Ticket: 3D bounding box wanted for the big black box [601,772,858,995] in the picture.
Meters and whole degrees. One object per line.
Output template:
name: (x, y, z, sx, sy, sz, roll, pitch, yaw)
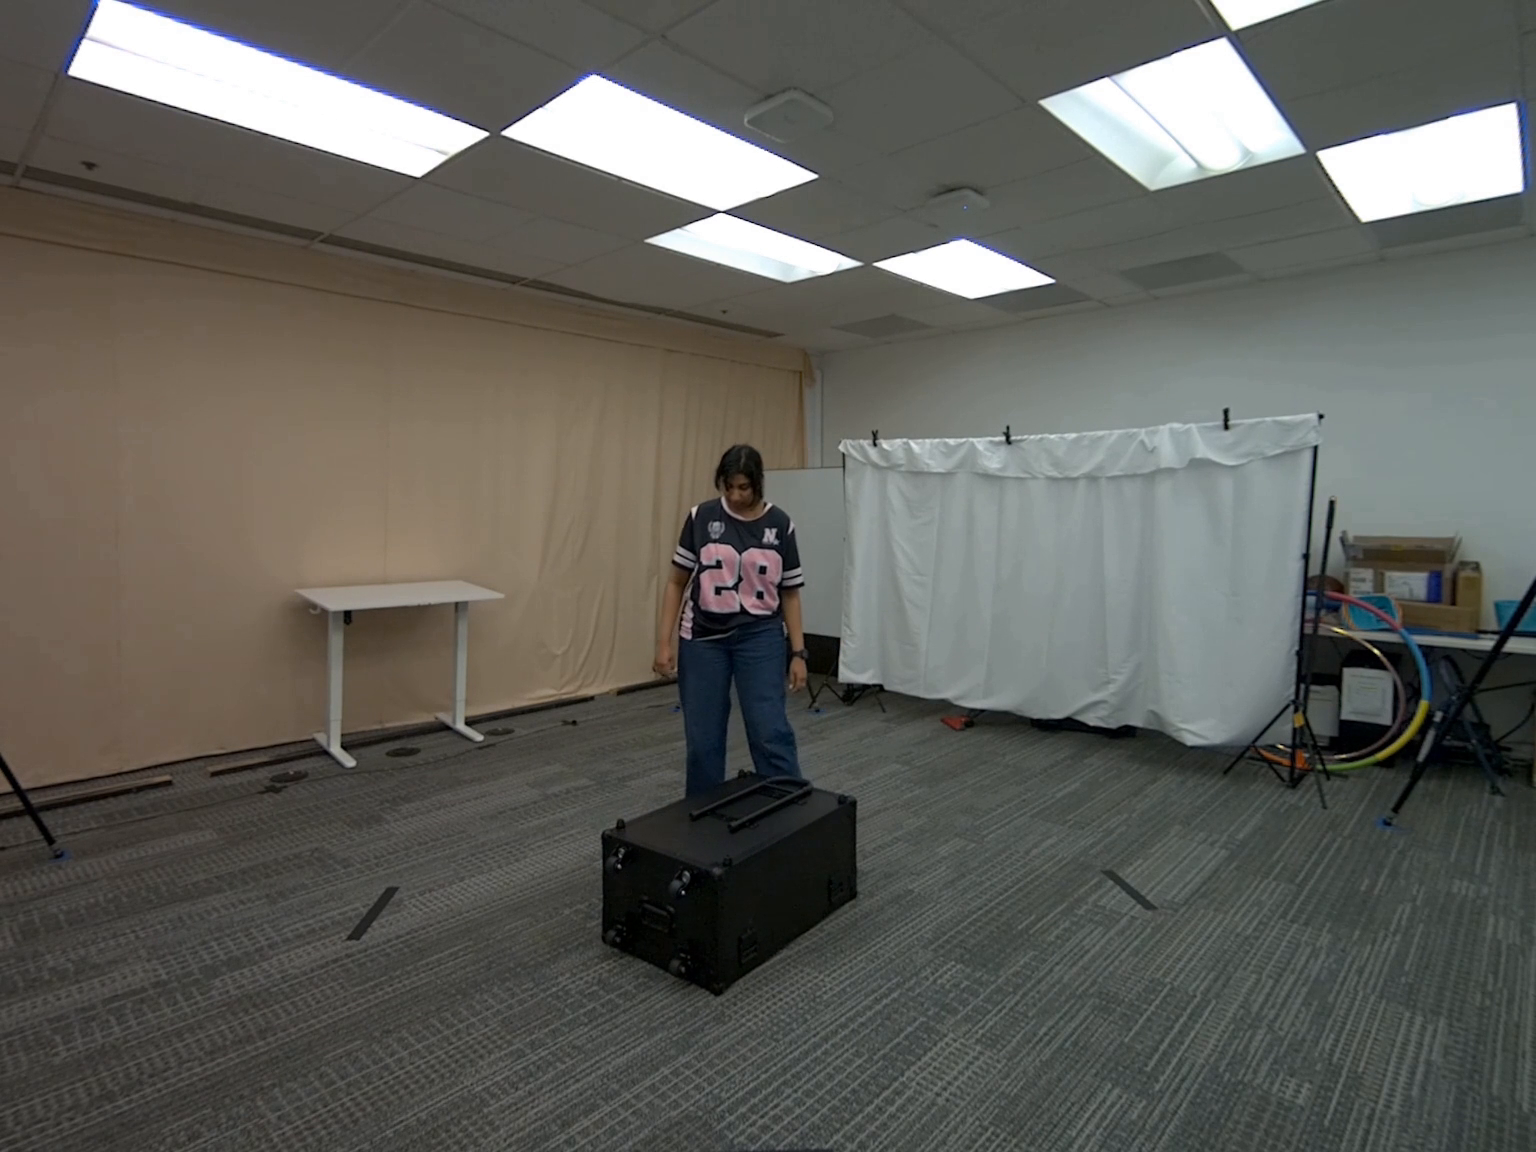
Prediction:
big black box: (-0.122, 0.976, 2.797, 0.540, 0.384, 0.843, 5, 7, 37)
